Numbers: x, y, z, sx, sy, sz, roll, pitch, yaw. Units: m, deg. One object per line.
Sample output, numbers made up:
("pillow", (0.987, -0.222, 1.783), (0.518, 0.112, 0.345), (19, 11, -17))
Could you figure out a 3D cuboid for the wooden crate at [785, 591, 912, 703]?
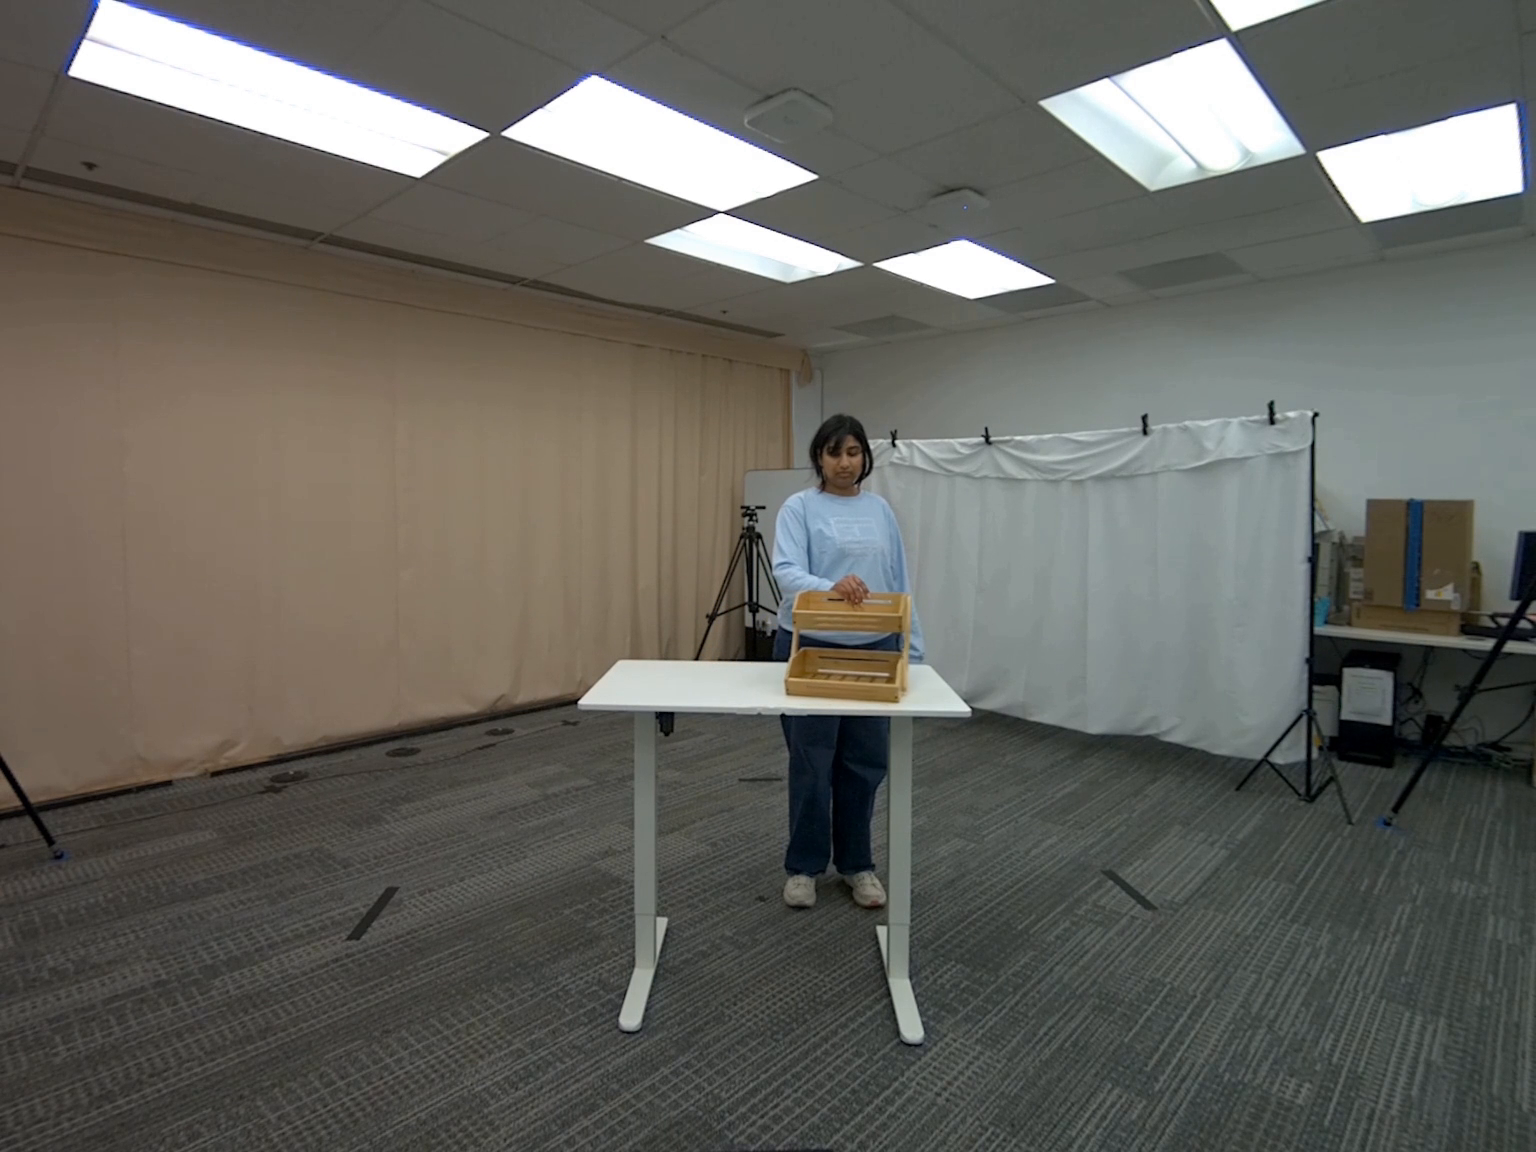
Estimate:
("wooden crate", (0.228, 0.182, 2.352), (0.330, 0.273, 0.297), (1, 3, 15))
